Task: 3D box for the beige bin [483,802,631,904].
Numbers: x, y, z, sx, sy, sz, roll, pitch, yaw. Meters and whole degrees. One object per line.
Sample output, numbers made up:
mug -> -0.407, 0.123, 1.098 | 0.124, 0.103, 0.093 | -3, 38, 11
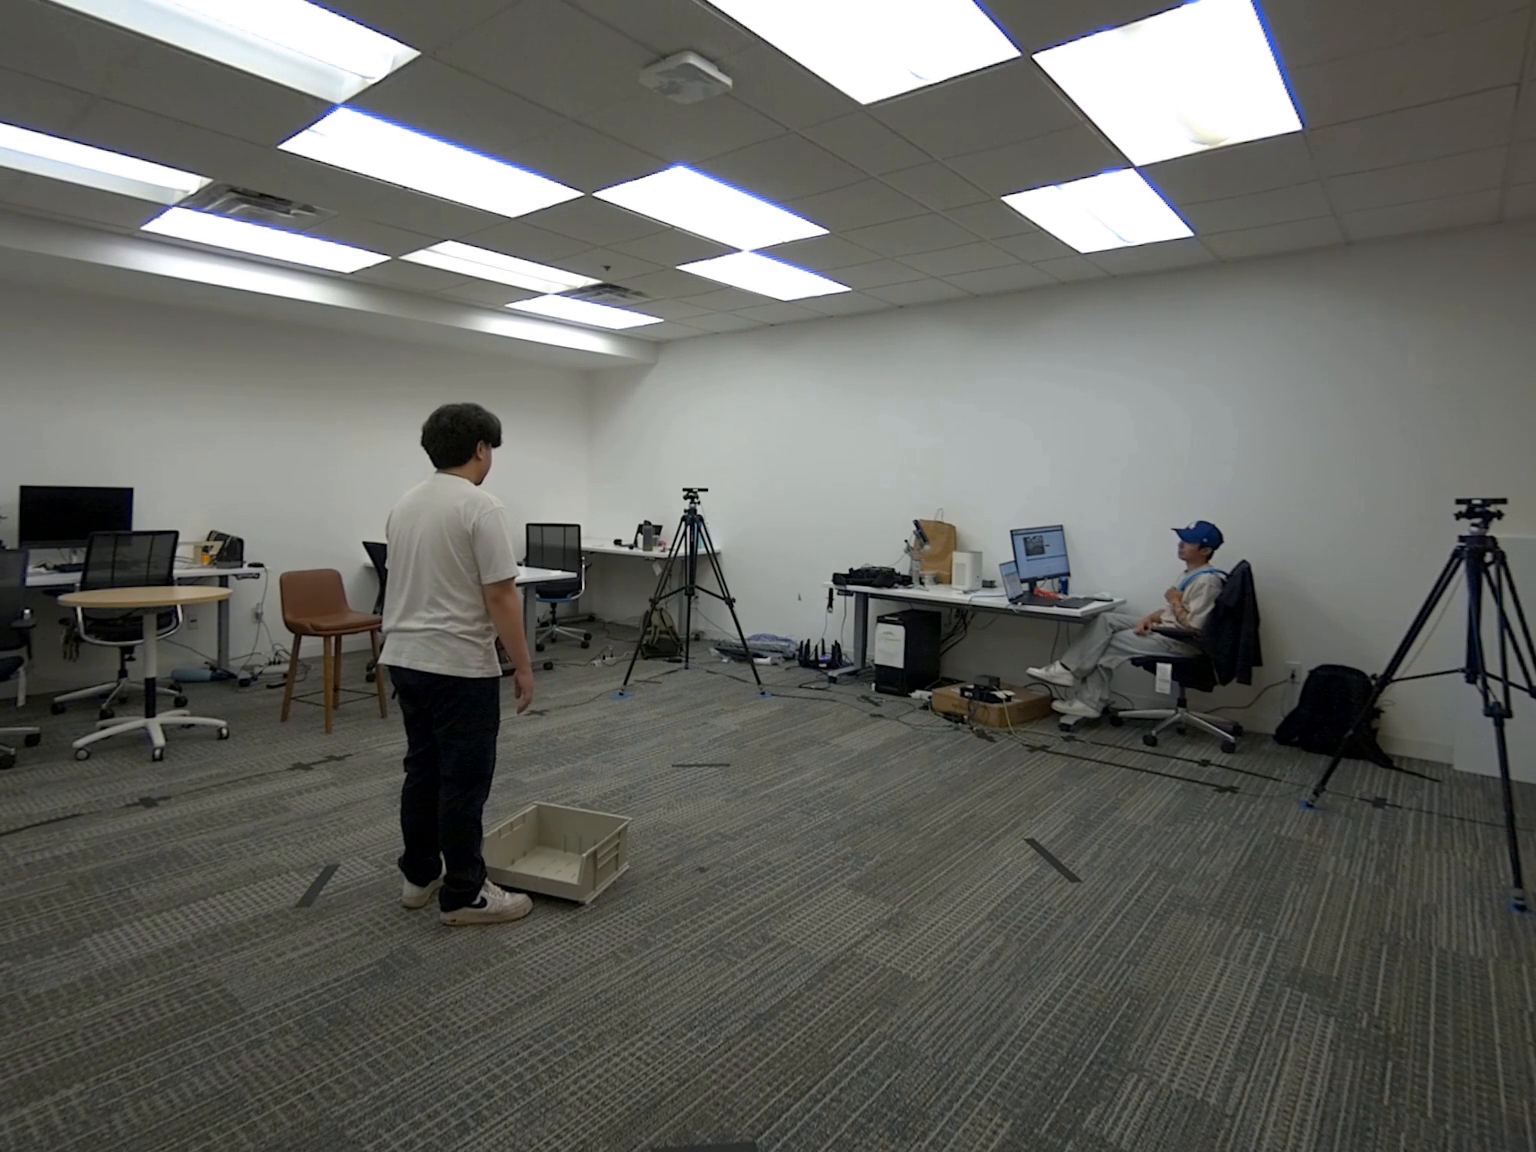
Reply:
beige bin -> -0.765, 0.978, 3.018 | 0.431, 0.188, 0.370 | 2, 4, 19
